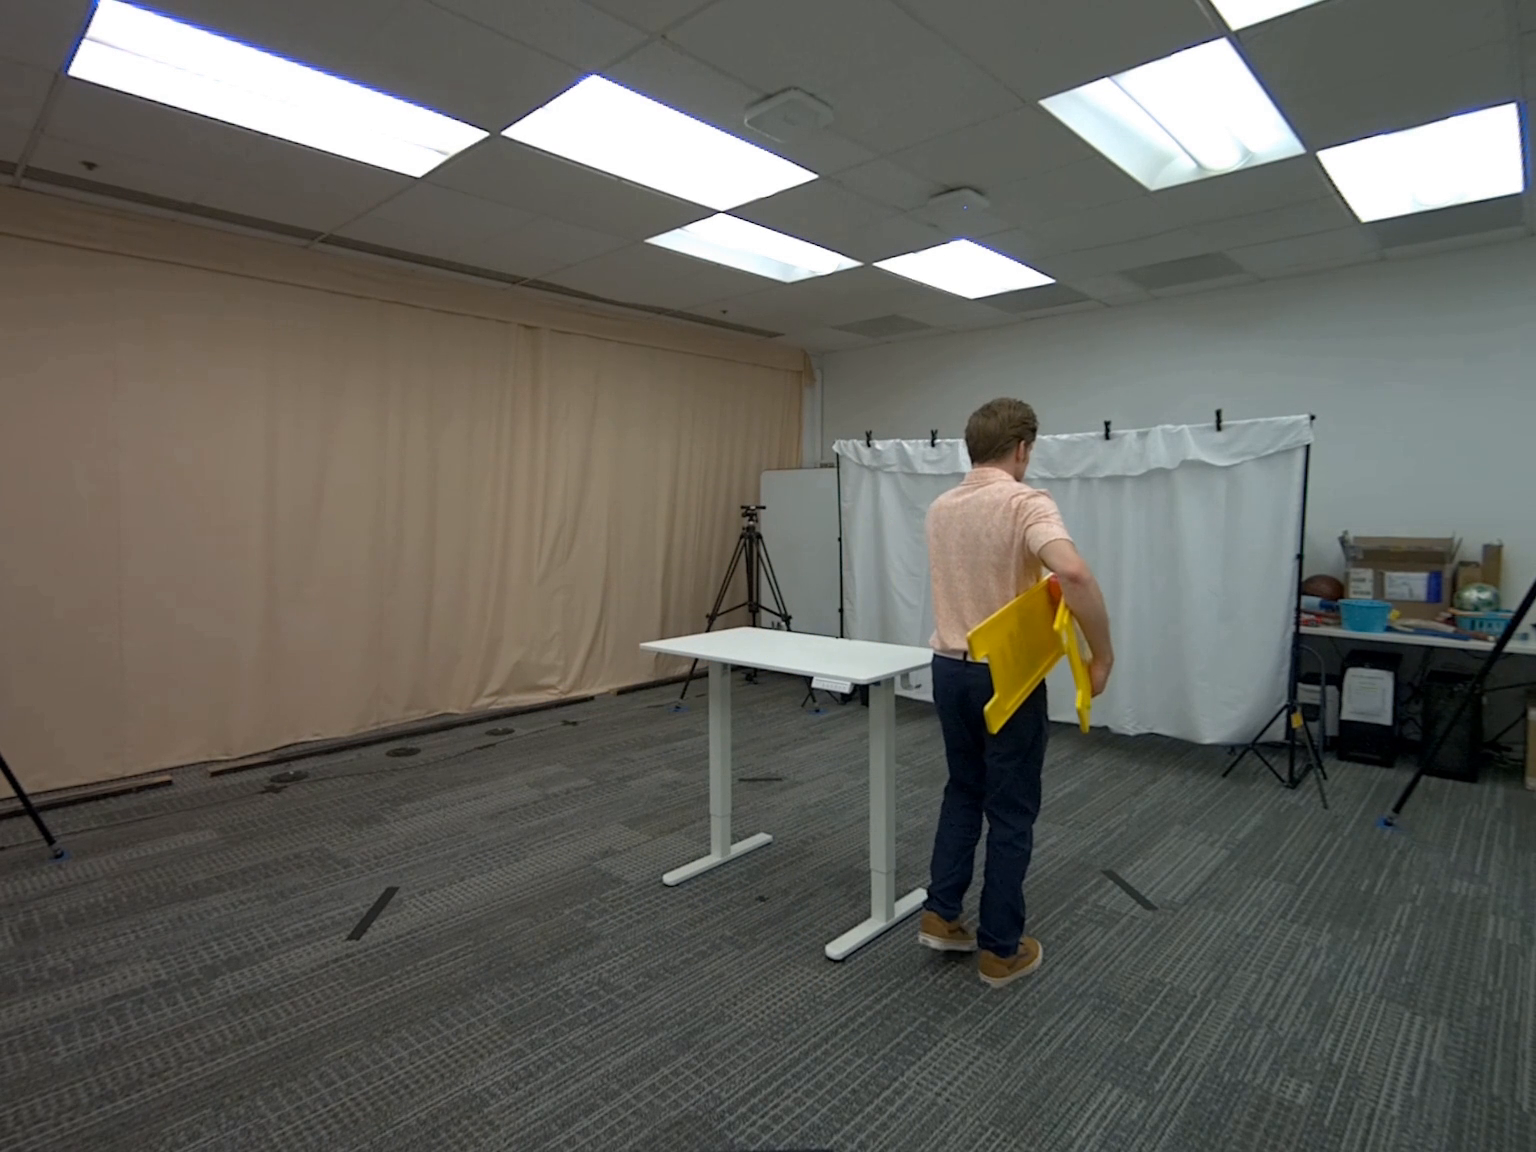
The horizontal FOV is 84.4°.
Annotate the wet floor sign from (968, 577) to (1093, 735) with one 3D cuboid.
[{"bbox_3d":[0.800,0.161,2.304,0.298,0.279,0.634,-8,15,38],"label":"wet floor sign"}]
